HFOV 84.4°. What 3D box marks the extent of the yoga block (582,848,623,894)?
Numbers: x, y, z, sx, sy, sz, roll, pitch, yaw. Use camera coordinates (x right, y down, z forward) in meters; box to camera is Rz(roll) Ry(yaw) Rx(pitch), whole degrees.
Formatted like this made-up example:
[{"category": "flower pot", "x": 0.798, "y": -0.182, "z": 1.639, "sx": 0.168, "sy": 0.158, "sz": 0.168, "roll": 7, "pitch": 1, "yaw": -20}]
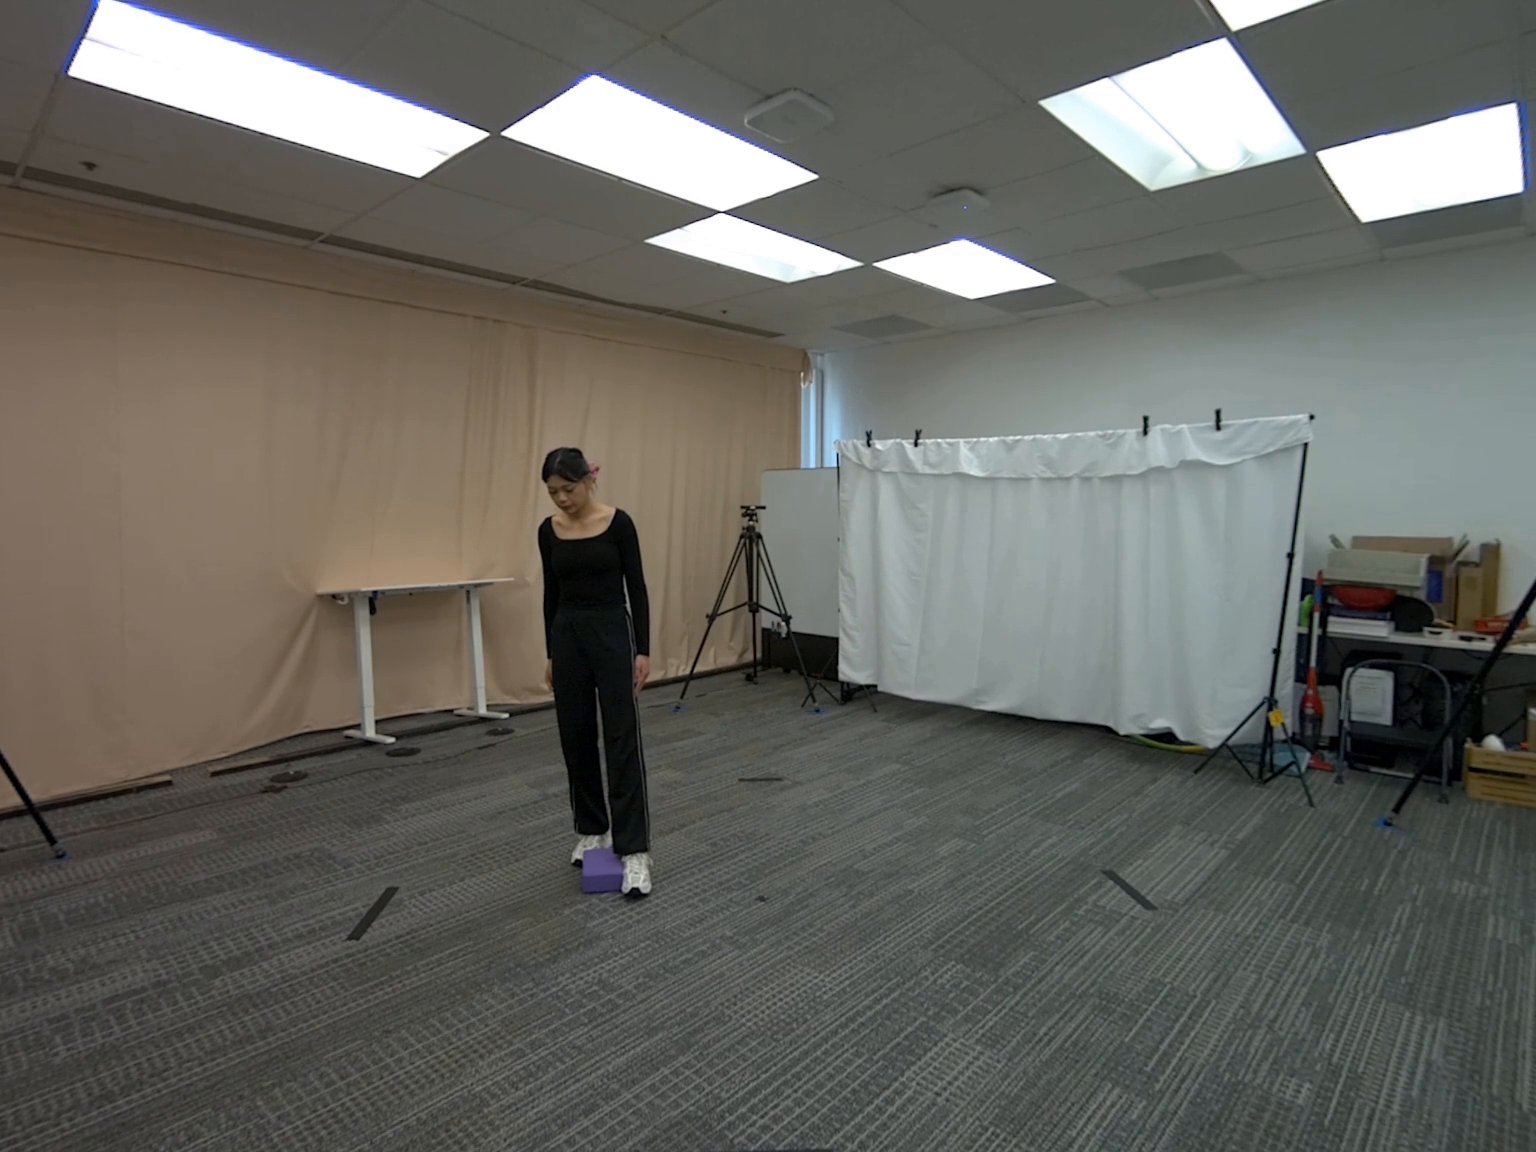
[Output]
[{"category": "yoga block", "x": -0.618, "y": 1.100, "z": 3.145, "sx": 0.147, "sy": 0.076, "sz": 0.232, "roll": -3, "pitch": 4, "yaw": -10}]
